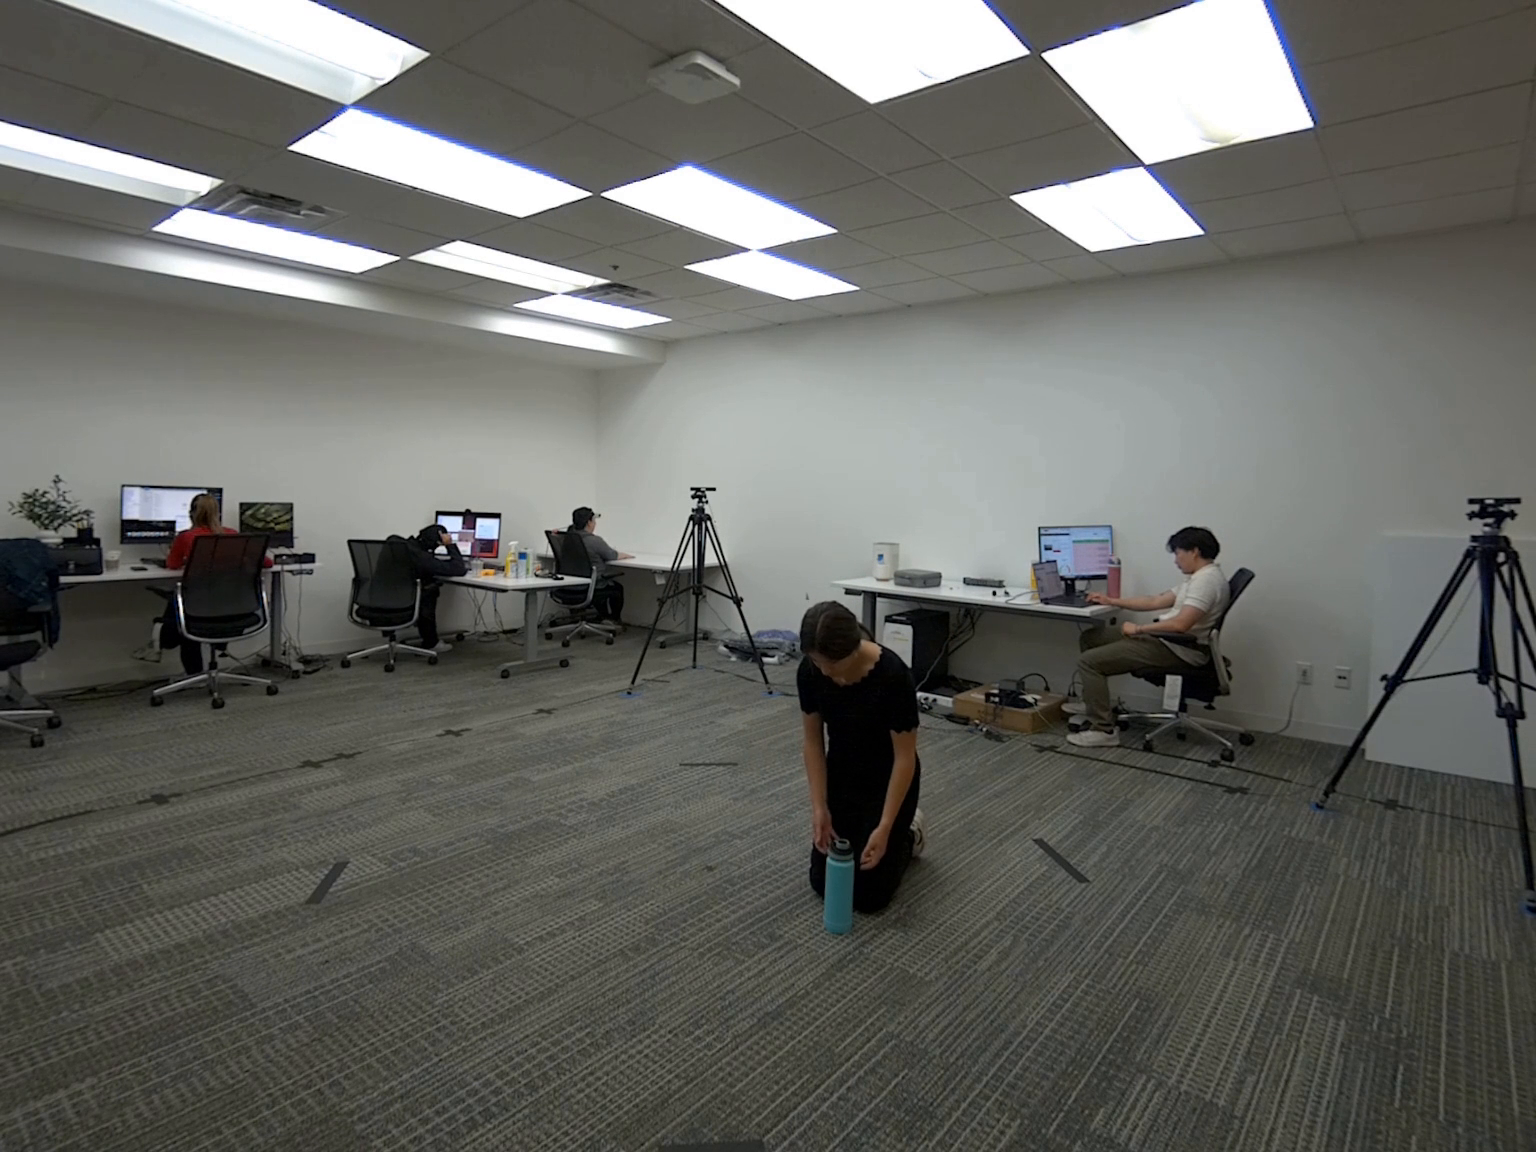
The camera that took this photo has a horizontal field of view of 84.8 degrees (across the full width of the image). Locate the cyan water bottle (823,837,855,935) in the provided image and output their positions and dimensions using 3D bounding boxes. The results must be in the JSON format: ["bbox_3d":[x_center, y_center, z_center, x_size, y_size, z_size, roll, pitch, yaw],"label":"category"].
[{"bbox_3d":[0.226,0.976,2.709,0.092,0.283,0.093,3,3,-2],"label":"cyan water bottle"}]
